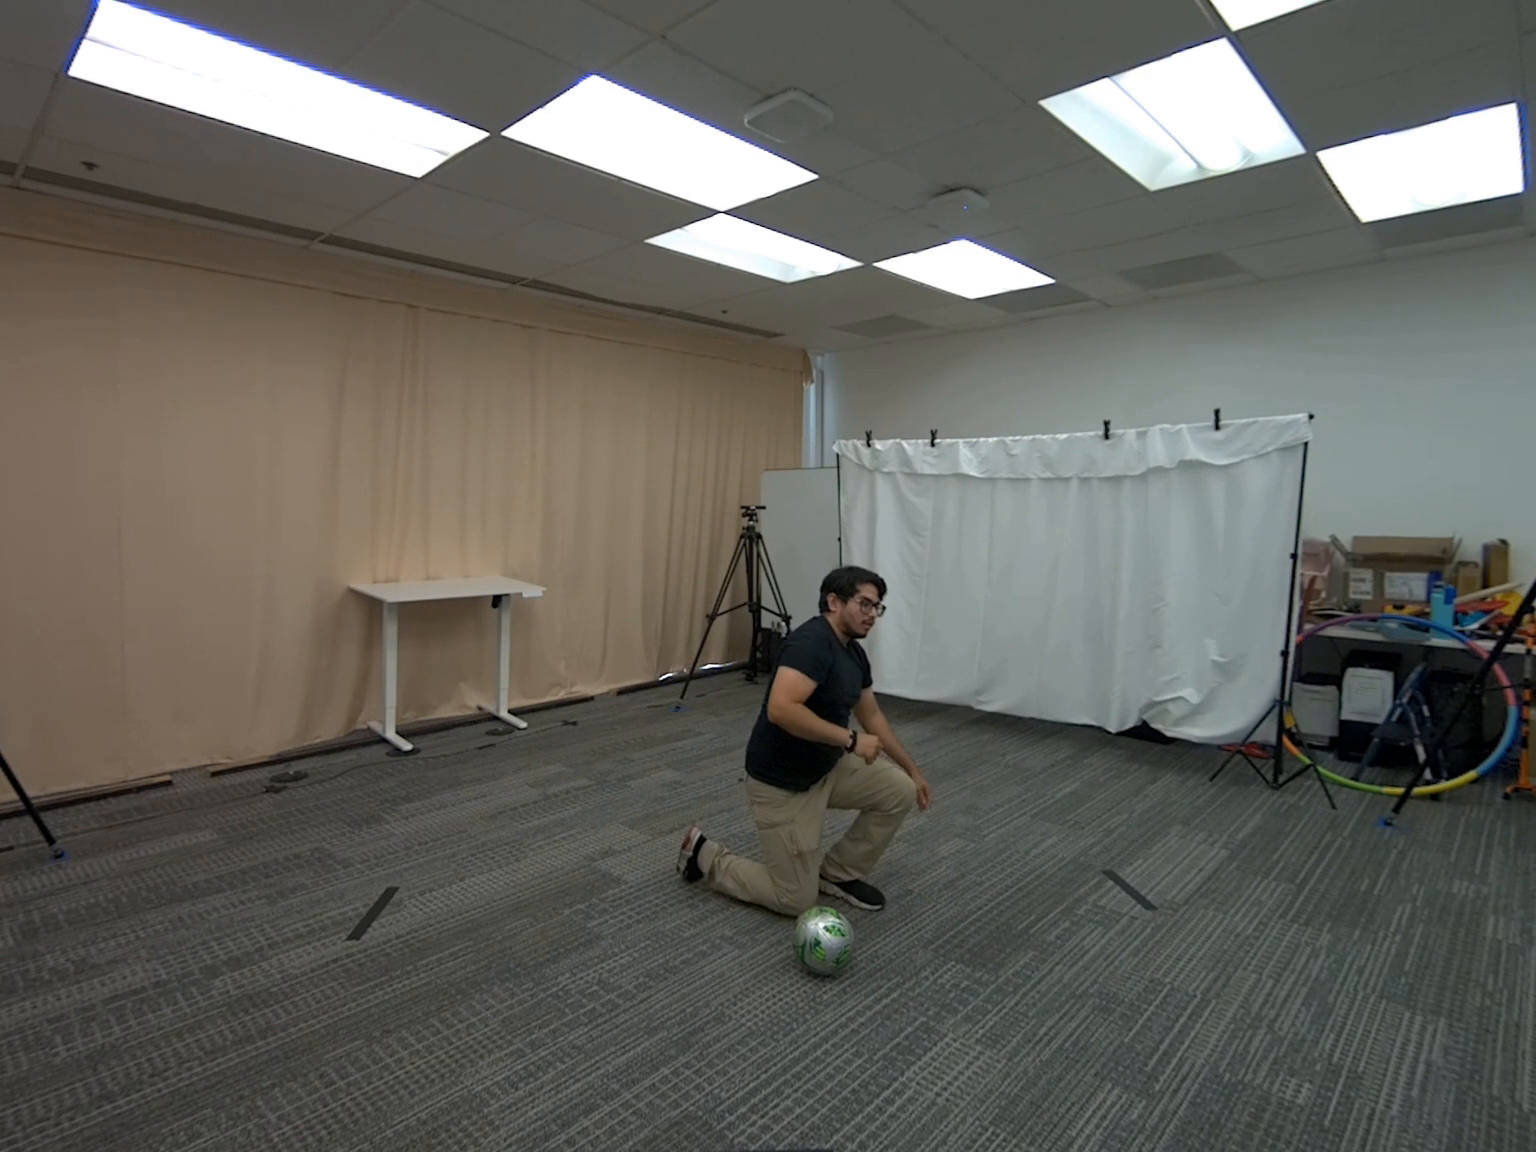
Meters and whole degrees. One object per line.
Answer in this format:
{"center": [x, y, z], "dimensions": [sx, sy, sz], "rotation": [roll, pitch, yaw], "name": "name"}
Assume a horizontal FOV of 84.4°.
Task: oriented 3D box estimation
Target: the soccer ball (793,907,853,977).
{"center": [0.168, 1.085, 2.522], "dimensions": [0.187, 0.187, 0.188], "rotation": [0, 4, -2], "name": "soccer ball"}
